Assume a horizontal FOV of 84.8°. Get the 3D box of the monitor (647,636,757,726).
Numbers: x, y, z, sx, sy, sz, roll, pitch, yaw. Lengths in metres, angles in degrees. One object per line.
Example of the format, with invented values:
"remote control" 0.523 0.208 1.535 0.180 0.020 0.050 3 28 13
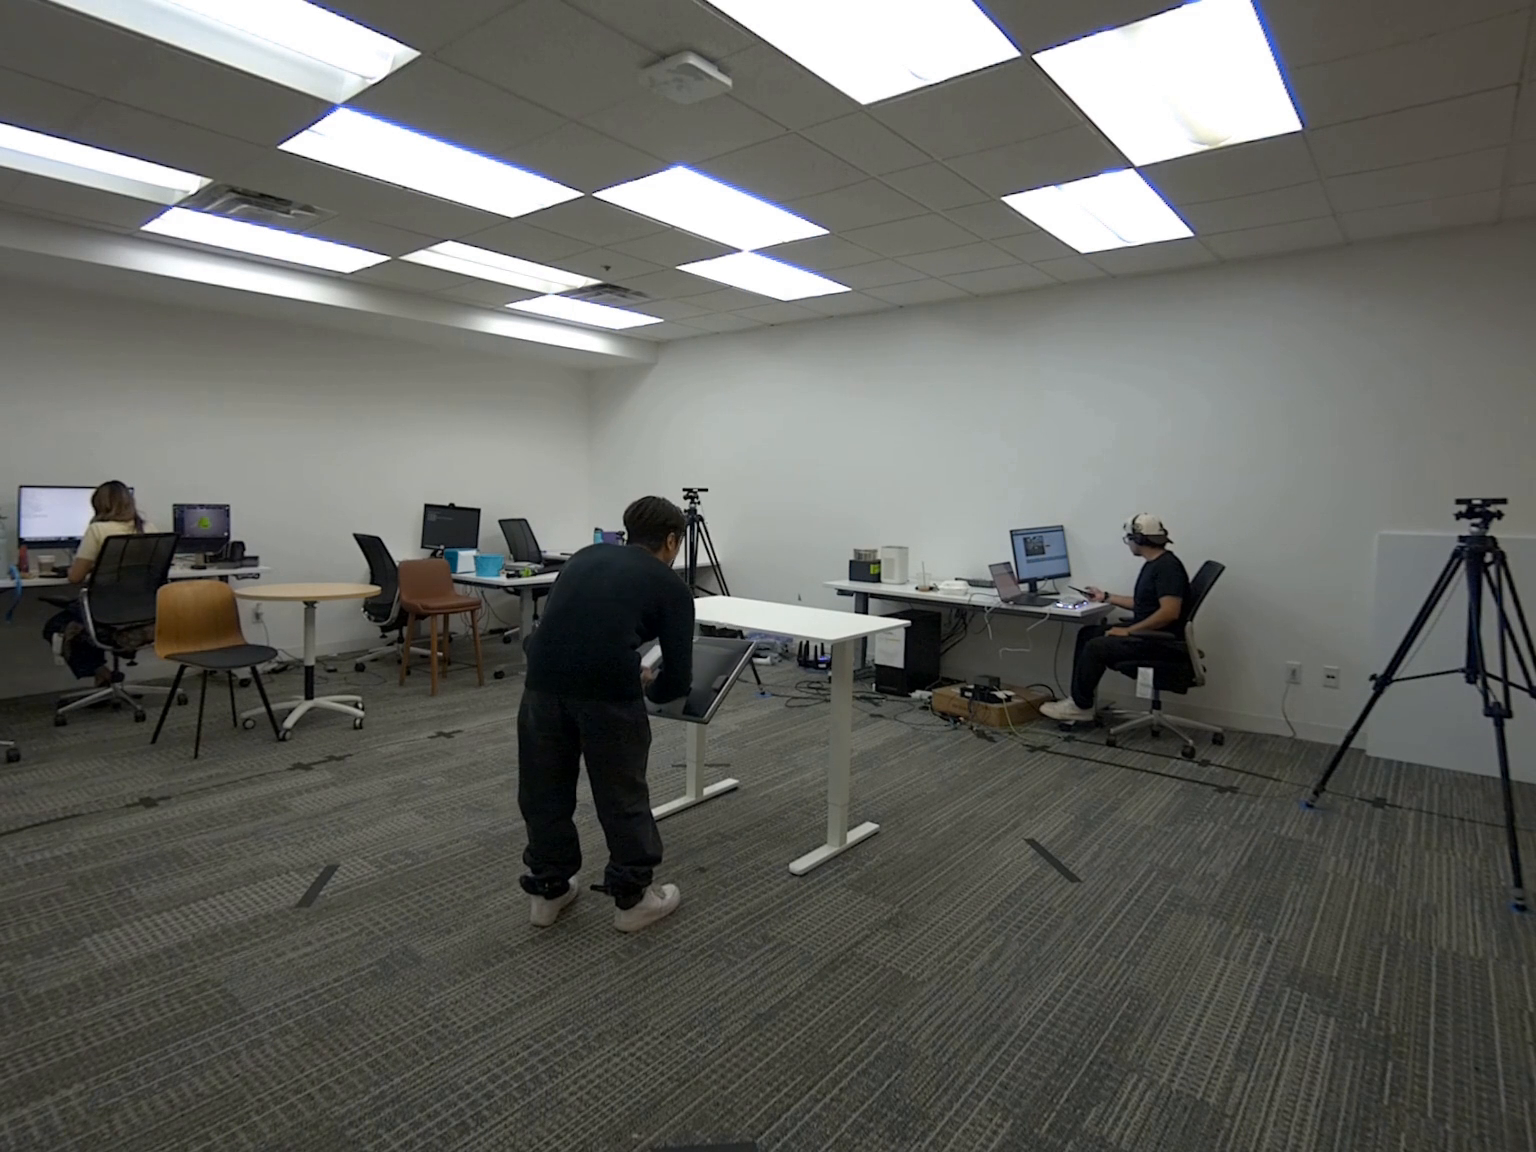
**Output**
"monitor" -0.395 0.362 2.994 0.547 0.171 0.510 1 24 40
